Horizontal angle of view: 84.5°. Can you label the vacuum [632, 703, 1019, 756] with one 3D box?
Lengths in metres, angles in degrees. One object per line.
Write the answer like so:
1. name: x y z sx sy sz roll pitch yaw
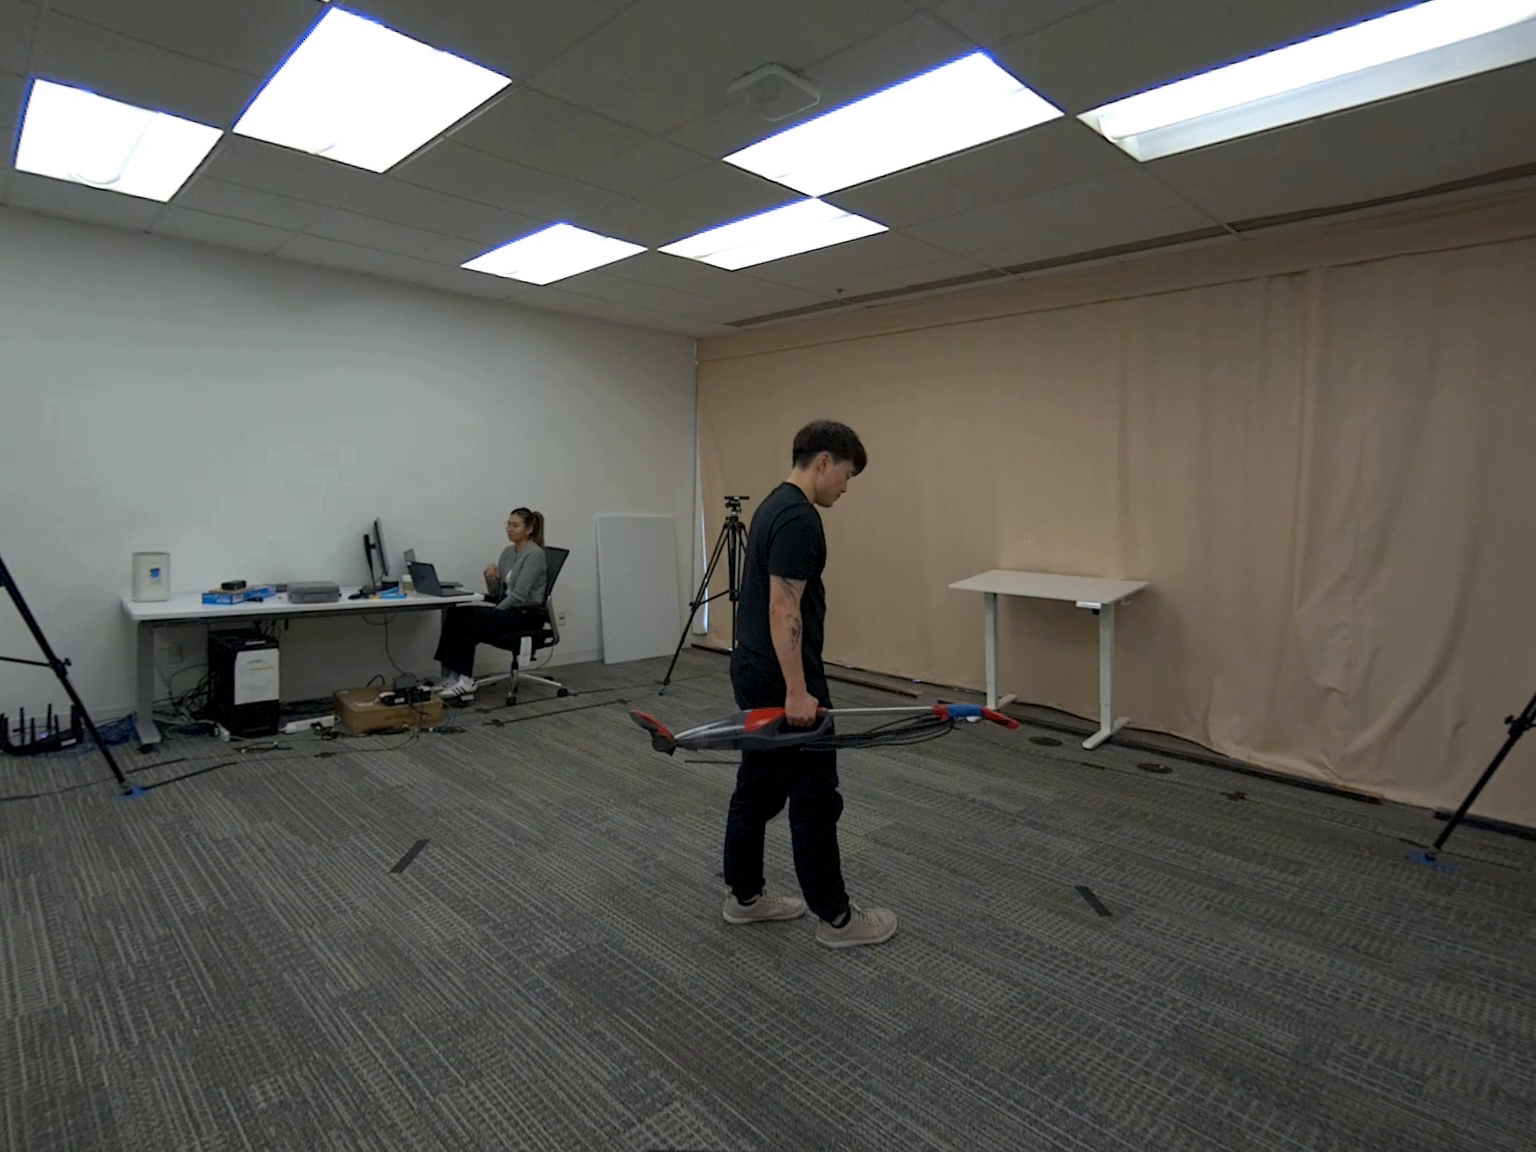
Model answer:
1. vacuum: 0.175 0.450 2.440 1.053 0.145 0.249 -3 -11 5
